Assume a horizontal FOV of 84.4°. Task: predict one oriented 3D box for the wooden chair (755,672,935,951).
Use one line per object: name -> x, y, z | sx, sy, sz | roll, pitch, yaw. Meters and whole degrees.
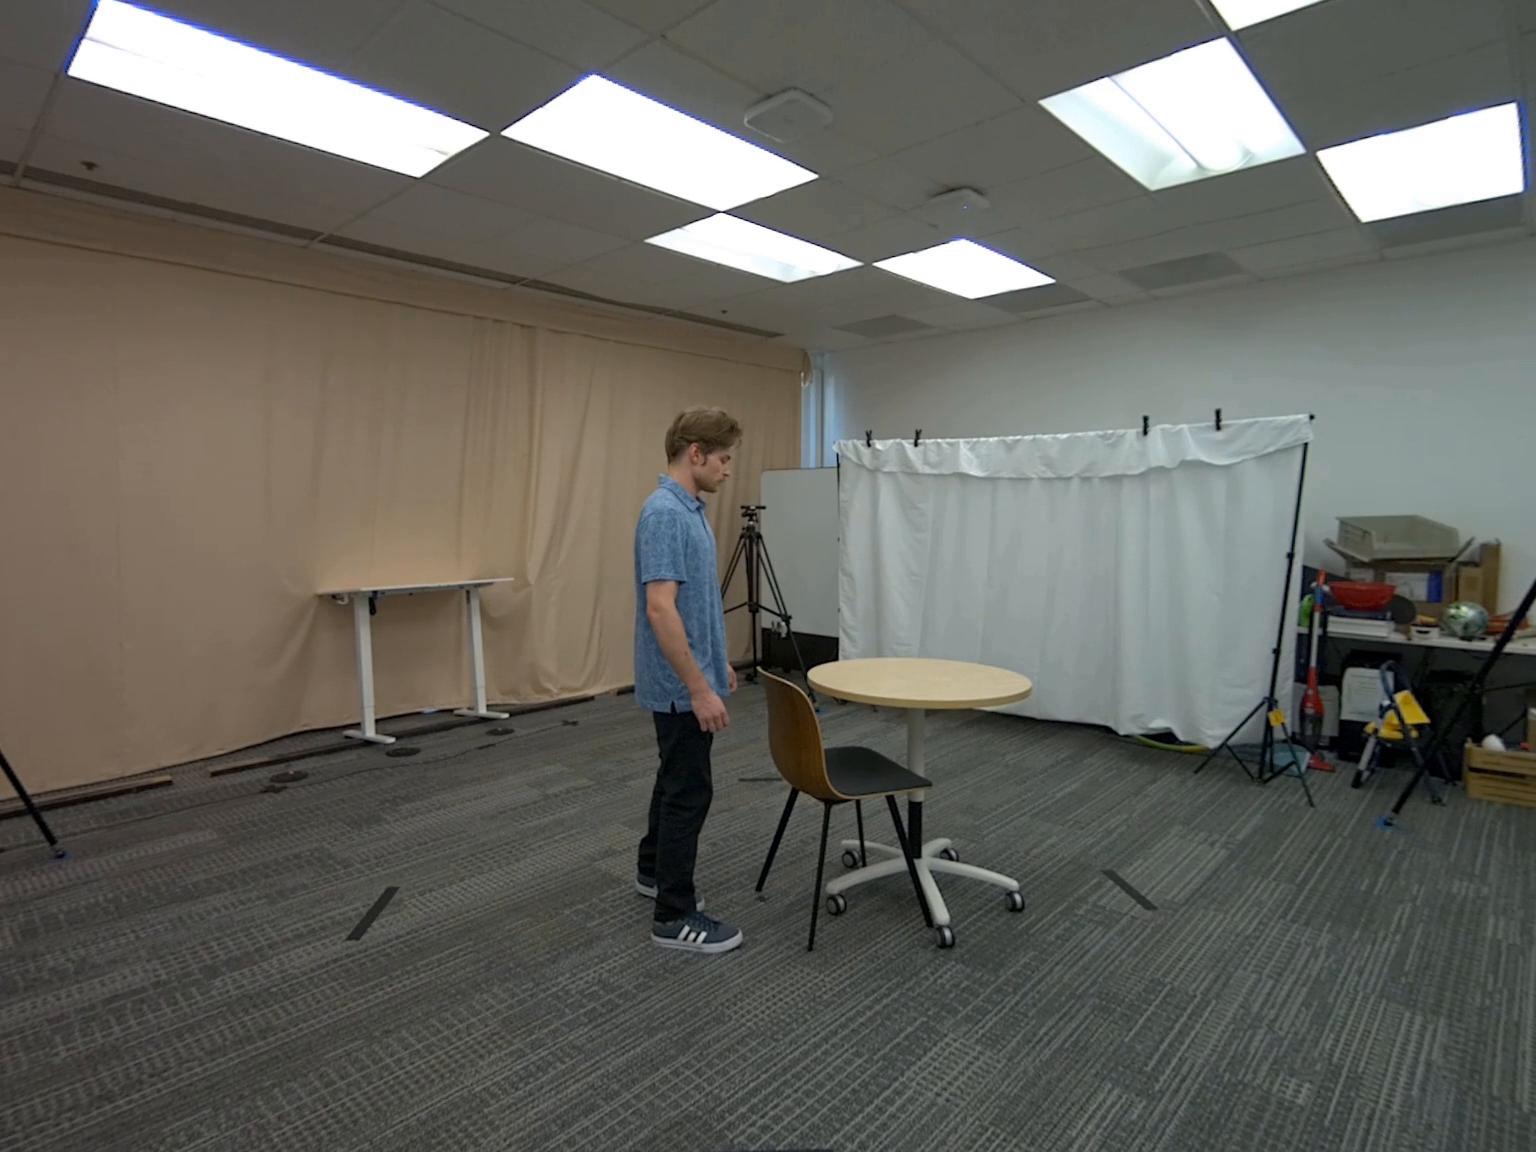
wooden chair -> 0.256, 0.719, 2.878 | 0.513, 0.875, 0.489 | -6, 4, -21
